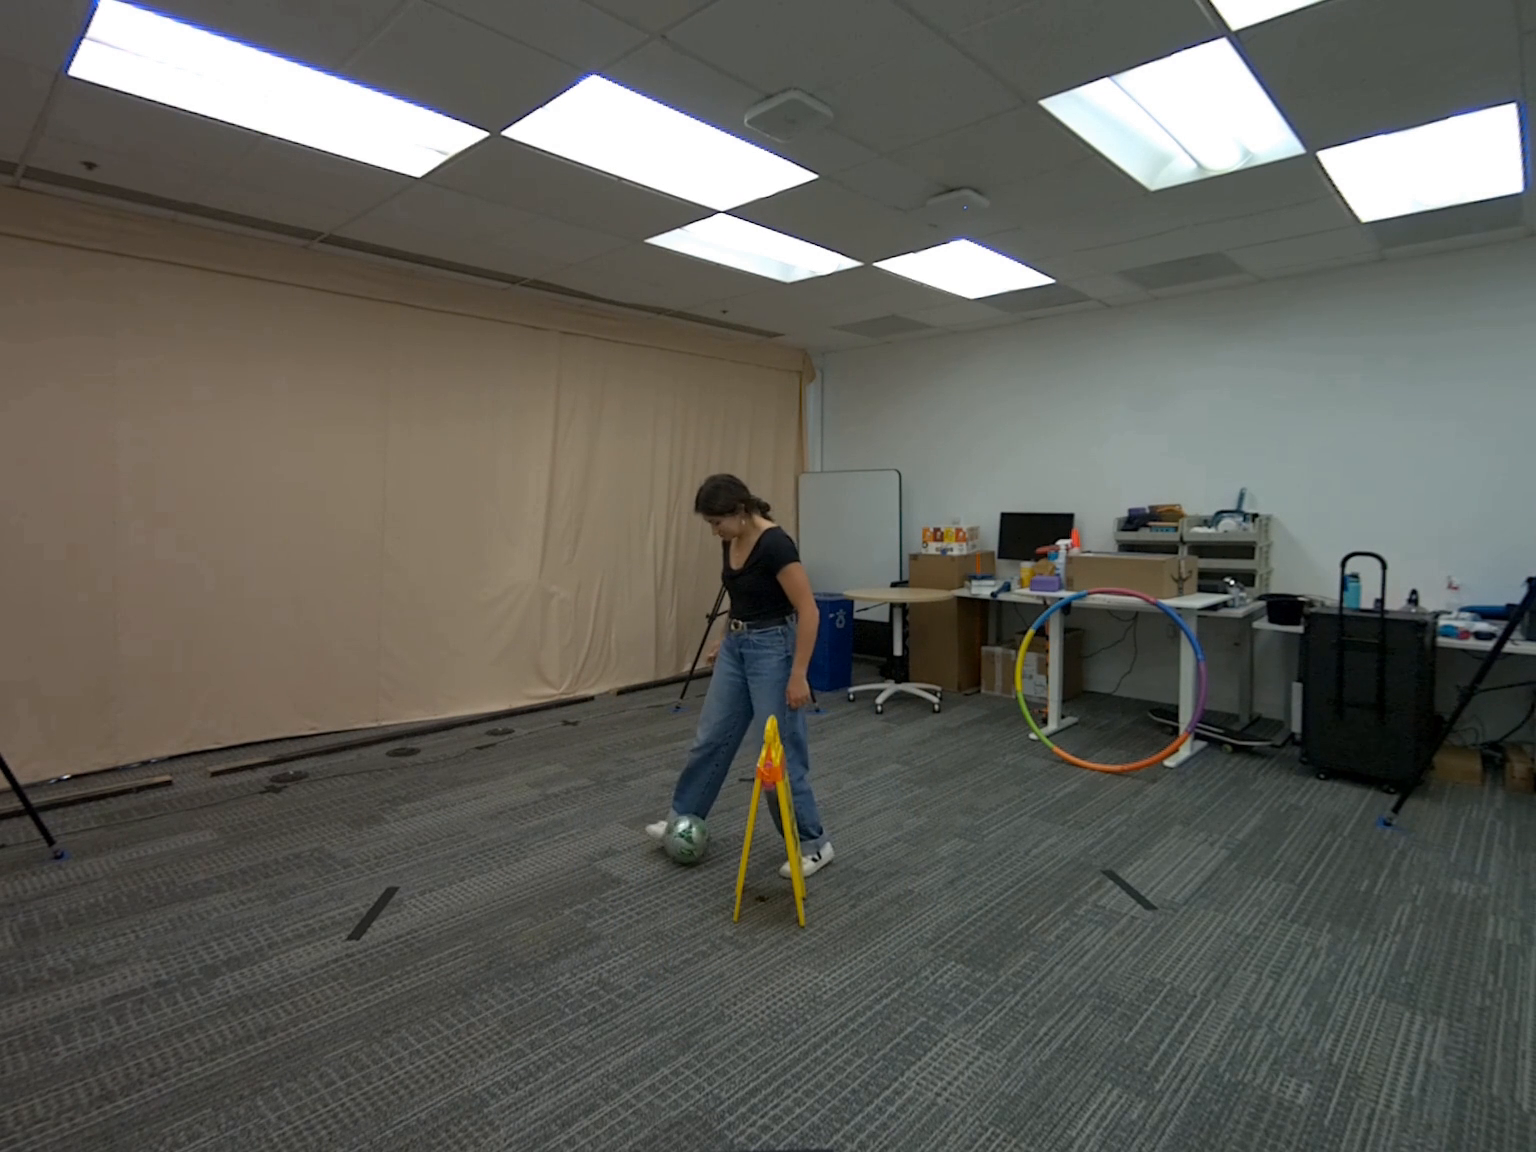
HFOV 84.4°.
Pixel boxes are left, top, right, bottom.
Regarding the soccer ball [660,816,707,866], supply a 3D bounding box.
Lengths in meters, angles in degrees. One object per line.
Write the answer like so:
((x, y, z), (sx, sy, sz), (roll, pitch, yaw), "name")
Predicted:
((-0.304, 1.024, 3.283), (0.187, 0.187, 0.188), (0, 4, -2), "soccer ball")
